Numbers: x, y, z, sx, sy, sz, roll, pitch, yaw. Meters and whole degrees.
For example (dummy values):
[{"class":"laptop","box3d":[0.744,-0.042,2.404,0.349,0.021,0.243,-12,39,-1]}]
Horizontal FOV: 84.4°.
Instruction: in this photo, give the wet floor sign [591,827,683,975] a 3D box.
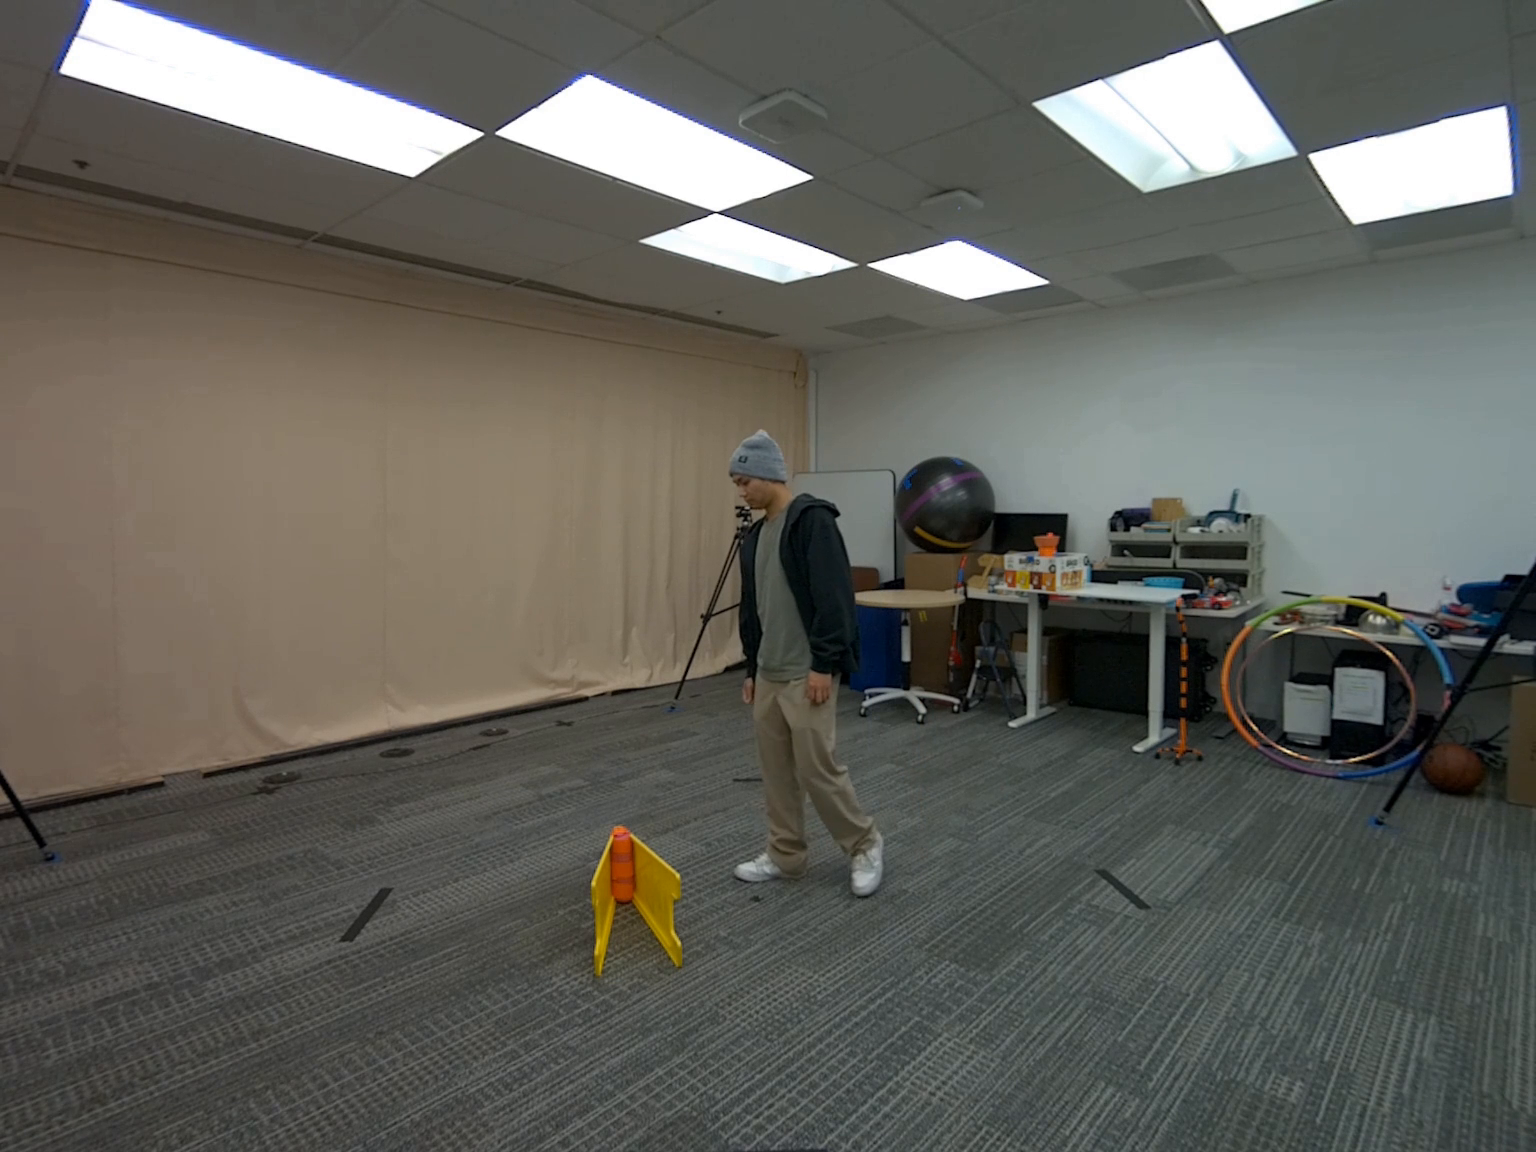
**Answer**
[{"class":"wet floor sign","box3d":[-0.476,1.035,2.822,0.286,0.282,0.655,-1,1,-14]}]
